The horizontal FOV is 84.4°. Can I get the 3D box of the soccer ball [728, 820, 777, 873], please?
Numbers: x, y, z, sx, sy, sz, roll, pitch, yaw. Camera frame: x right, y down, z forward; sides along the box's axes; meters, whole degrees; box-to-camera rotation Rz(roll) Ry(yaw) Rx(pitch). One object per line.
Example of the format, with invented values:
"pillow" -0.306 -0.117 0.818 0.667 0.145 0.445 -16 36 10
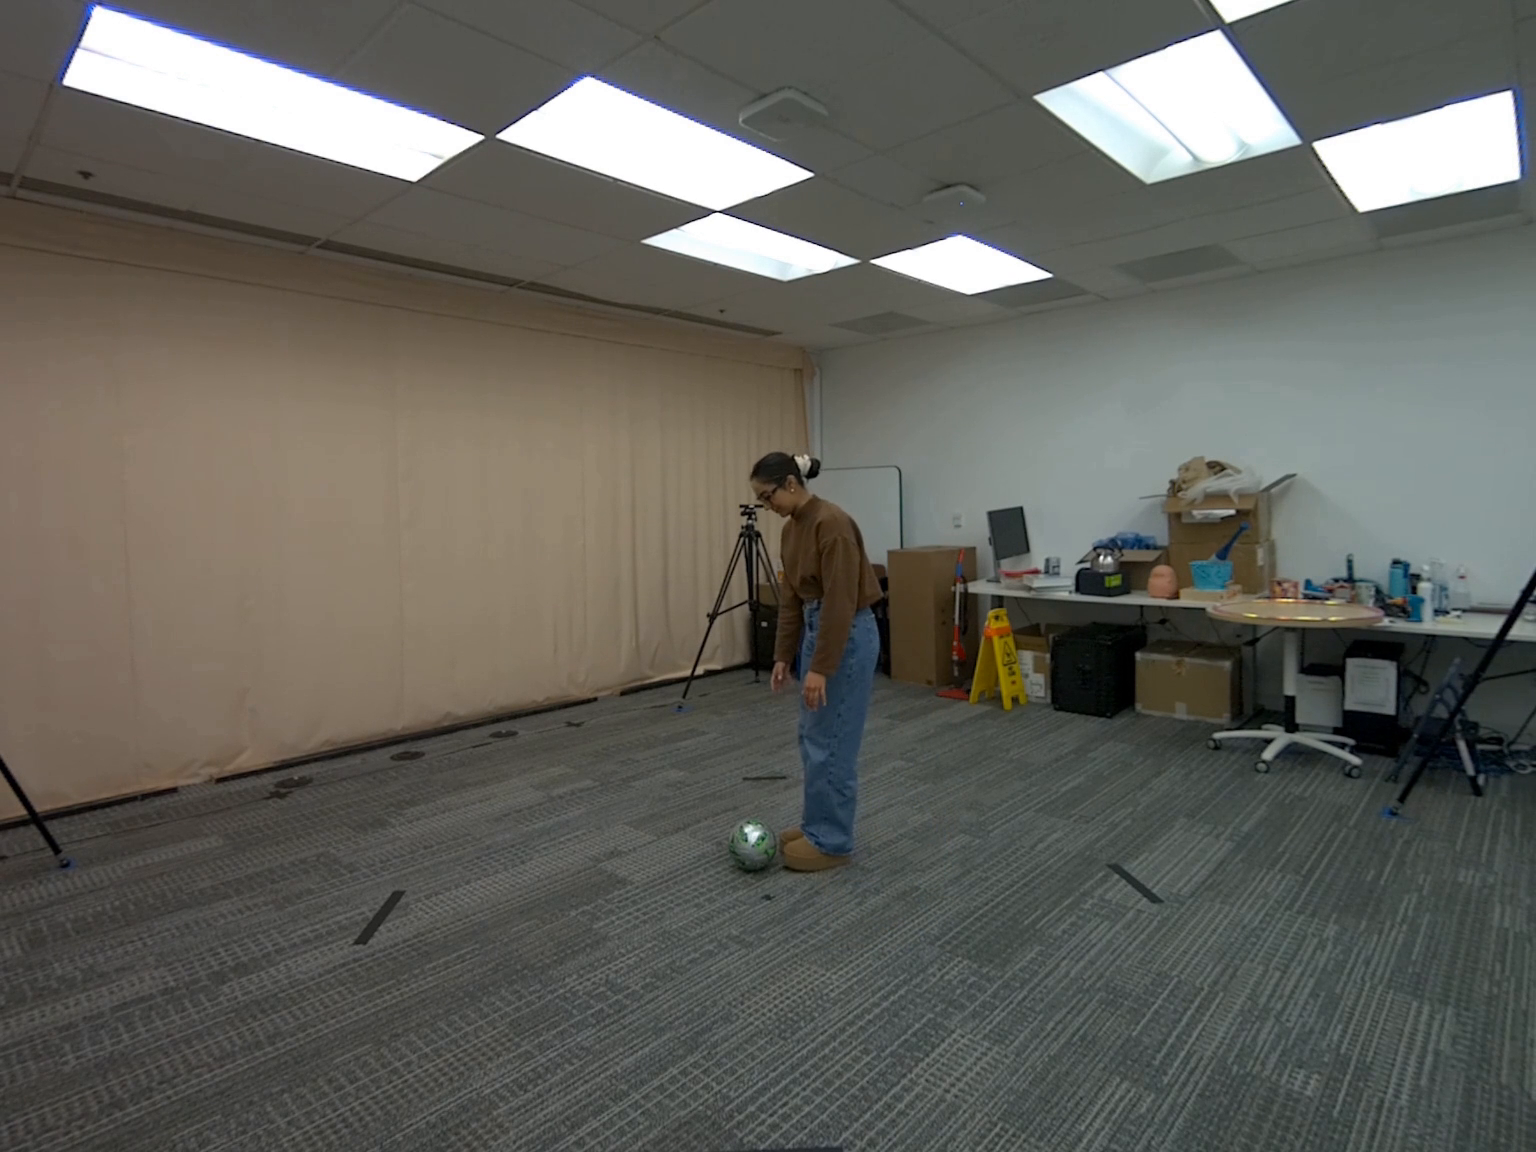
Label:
"soccer ball" -0.056 1.022 3.222 0.187 0.187 0.188 -1 4 -2
